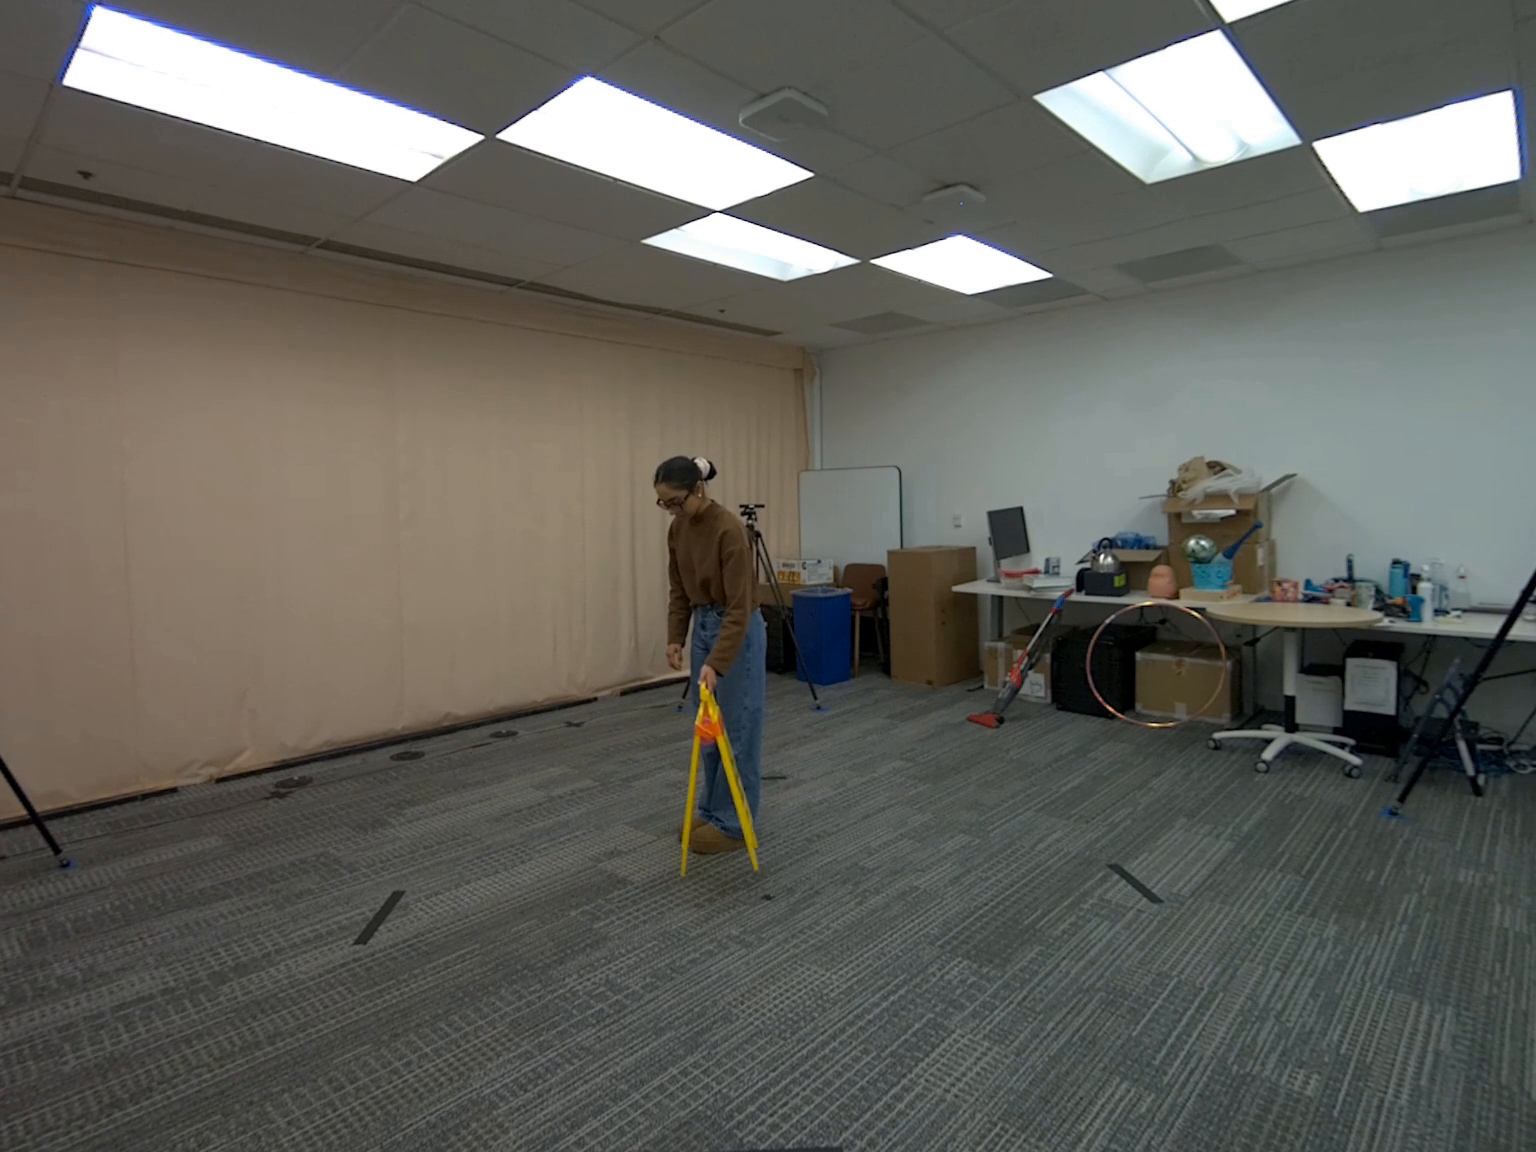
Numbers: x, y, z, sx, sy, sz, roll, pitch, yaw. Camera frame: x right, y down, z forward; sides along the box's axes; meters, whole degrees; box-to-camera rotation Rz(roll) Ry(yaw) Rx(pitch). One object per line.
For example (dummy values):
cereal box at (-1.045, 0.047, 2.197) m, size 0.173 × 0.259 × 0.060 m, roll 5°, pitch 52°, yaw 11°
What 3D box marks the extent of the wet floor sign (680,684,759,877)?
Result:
wet floor sign at (-0.206, 0.703, 3.056) m, size 0.289 × 0.646 × 0.283 m, roll -5°, pitch 1°, yaw -2°
